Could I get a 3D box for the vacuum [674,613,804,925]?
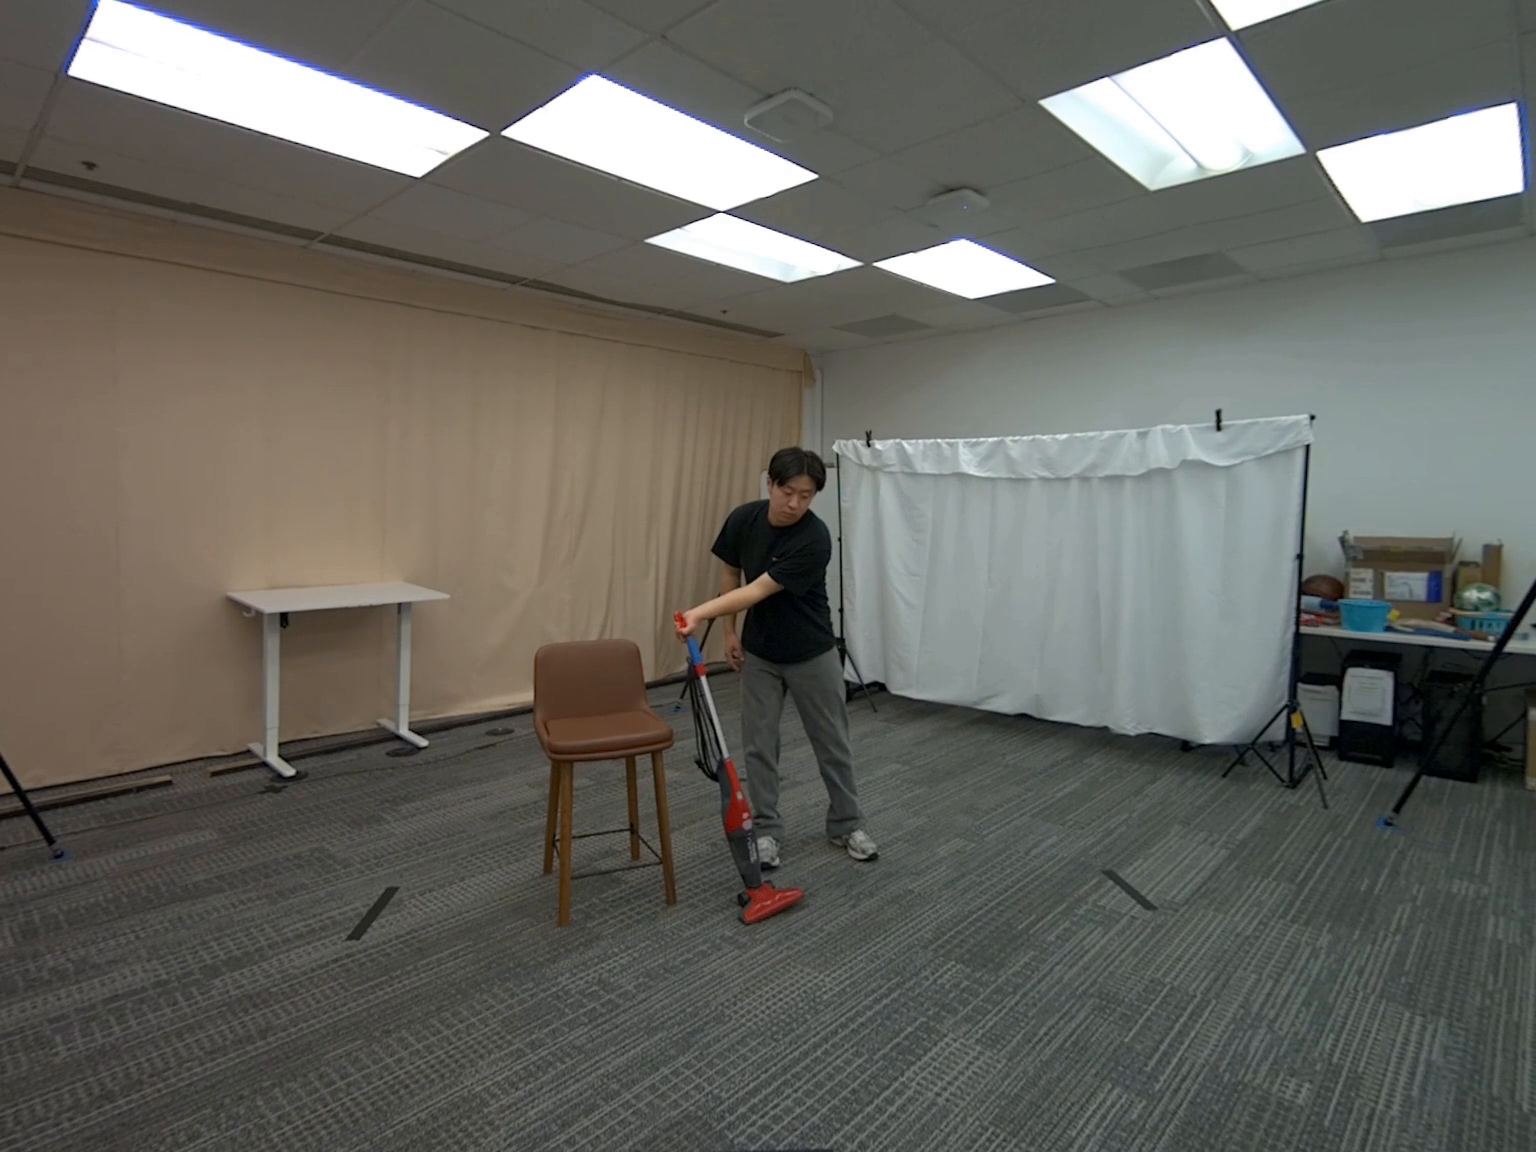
[{"bbox_3d":[-0.163,0.643,2.991,0.246,1.057,0.146,-13,-10,-36],"label":"vacuum"}]
